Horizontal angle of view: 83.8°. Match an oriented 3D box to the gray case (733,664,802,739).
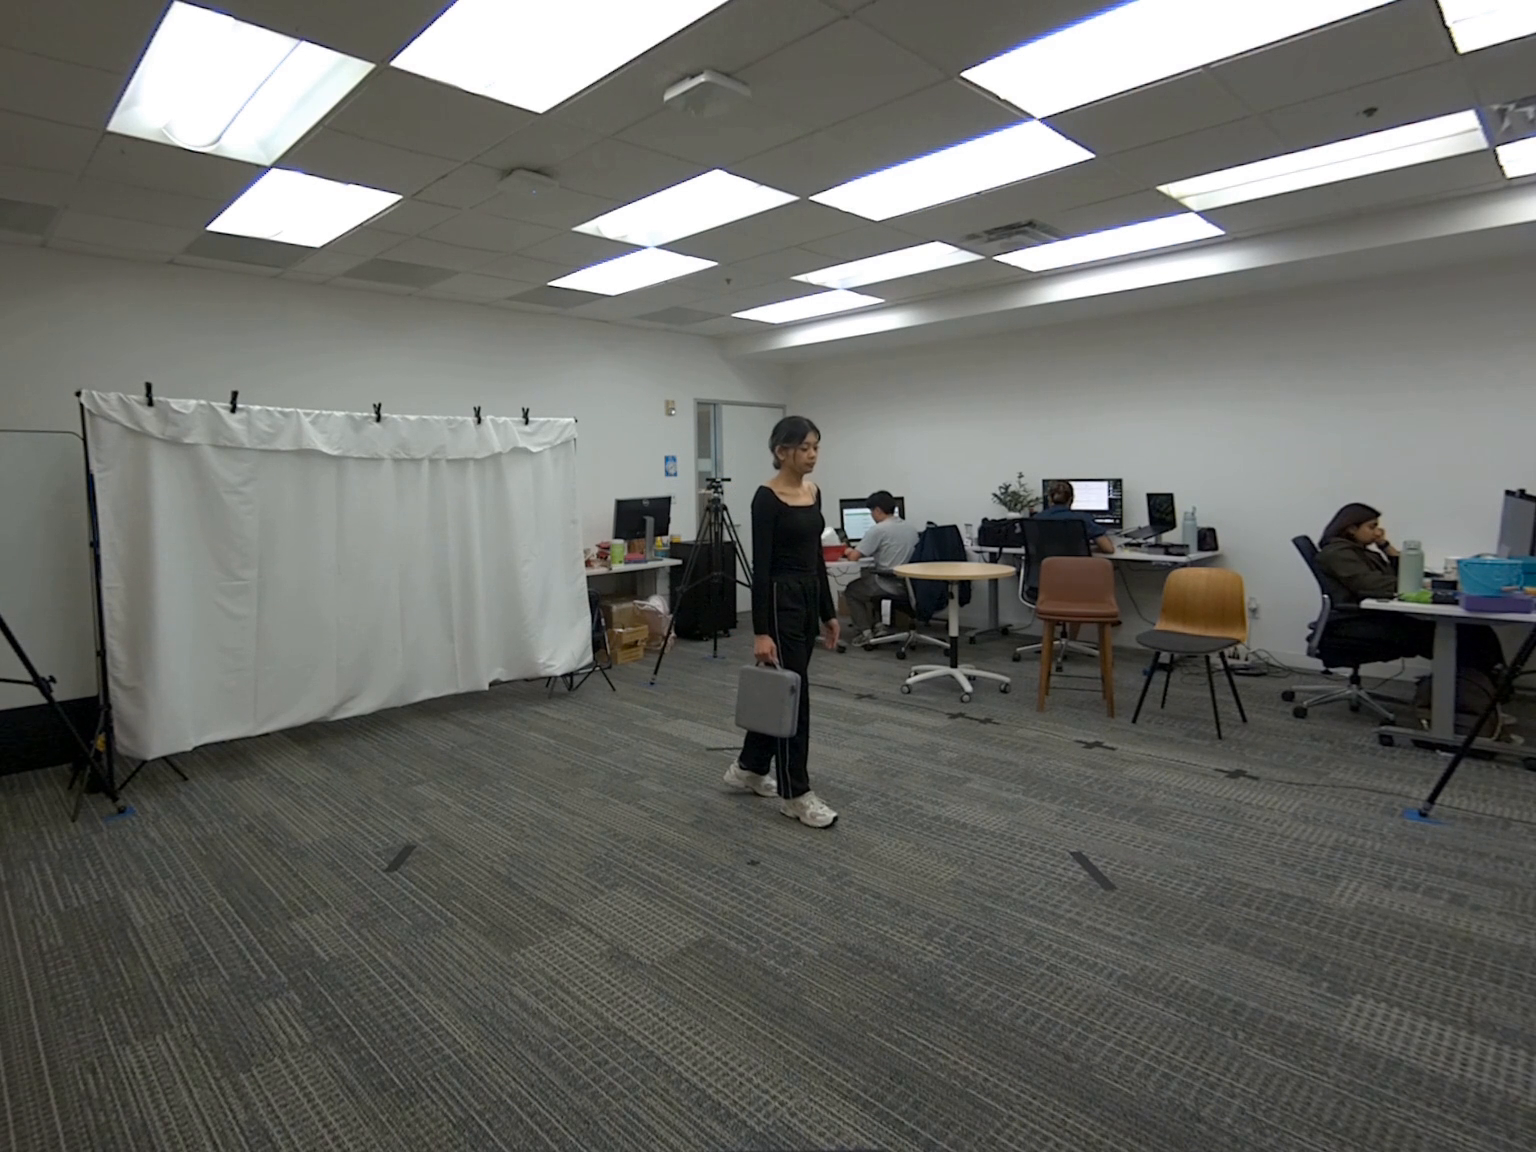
[{"bbox_3d":[0.004,0.486,3.360,0.265,0.261,0.101,3,-1,41],"label":"gray case"}]
